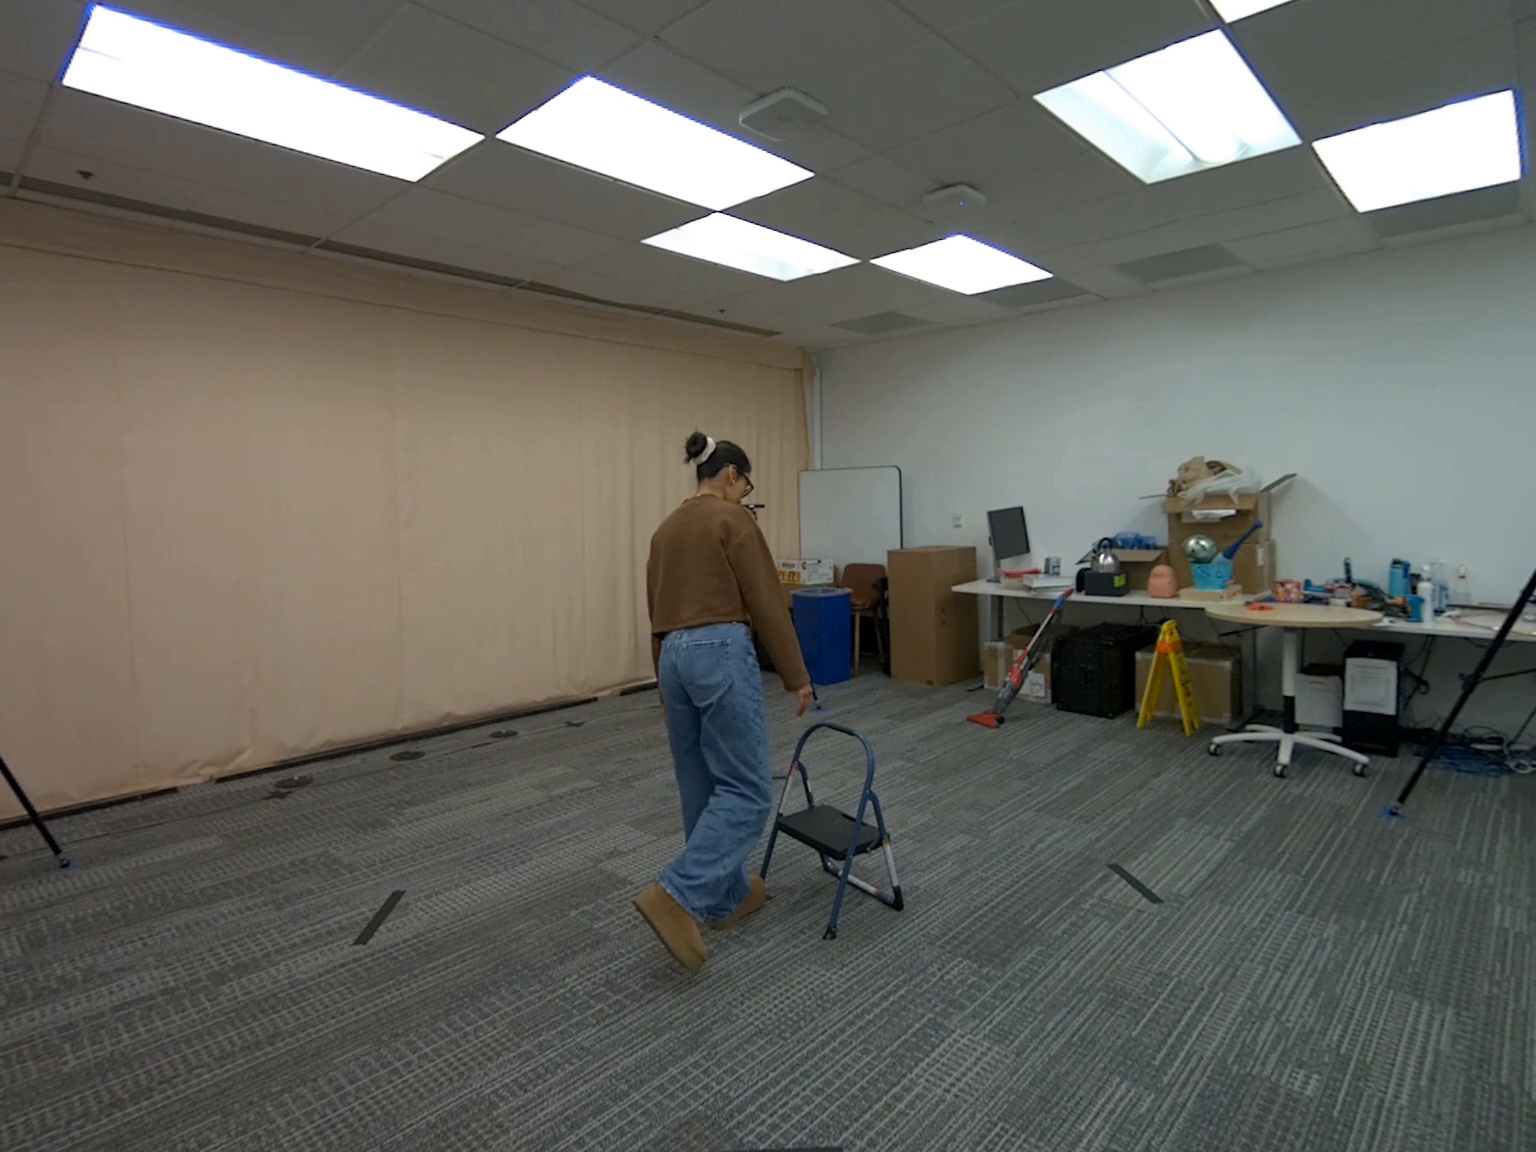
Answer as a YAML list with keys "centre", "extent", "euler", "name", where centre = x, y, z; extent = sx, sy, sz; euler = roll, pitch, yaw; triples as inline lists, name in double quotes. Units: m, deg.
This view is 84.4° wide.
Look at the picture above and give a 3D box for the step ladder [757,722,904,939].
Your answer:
- centre: [0.207, 0.836, 2.939]
  extent: [0.339, 0.605, 0.444]
  euler: [-3, 4, -35]
  name: "step ladder"
